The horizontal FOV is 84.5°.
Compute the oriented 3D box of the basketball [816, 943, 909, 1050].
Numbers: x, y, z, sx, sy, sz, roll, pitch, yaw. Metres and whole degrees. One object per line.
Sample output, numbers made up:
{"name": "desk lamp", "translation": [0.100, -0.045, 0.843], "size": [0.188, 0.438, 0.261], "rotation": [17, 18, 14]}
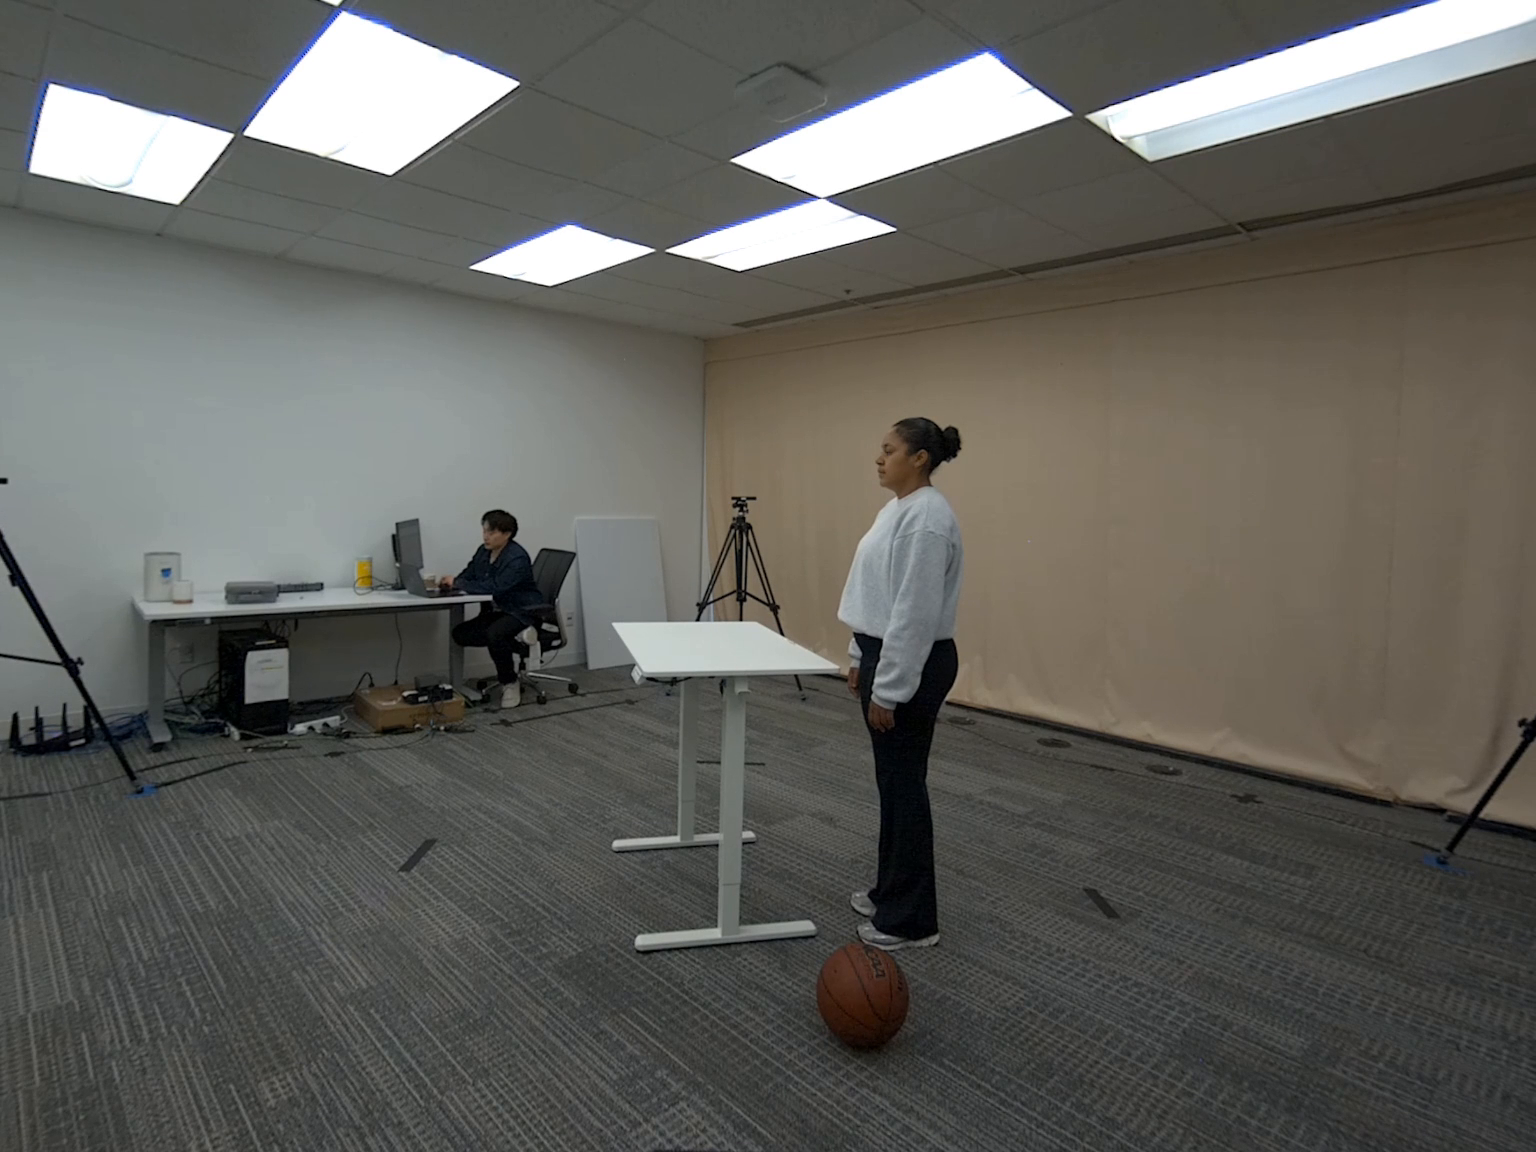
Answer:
{"name": "basketball", "translation": [0.240, 1.084, 2.179], "size": [0.236, 0.235, 0.237], "rotation": [1, 4, -1]}
